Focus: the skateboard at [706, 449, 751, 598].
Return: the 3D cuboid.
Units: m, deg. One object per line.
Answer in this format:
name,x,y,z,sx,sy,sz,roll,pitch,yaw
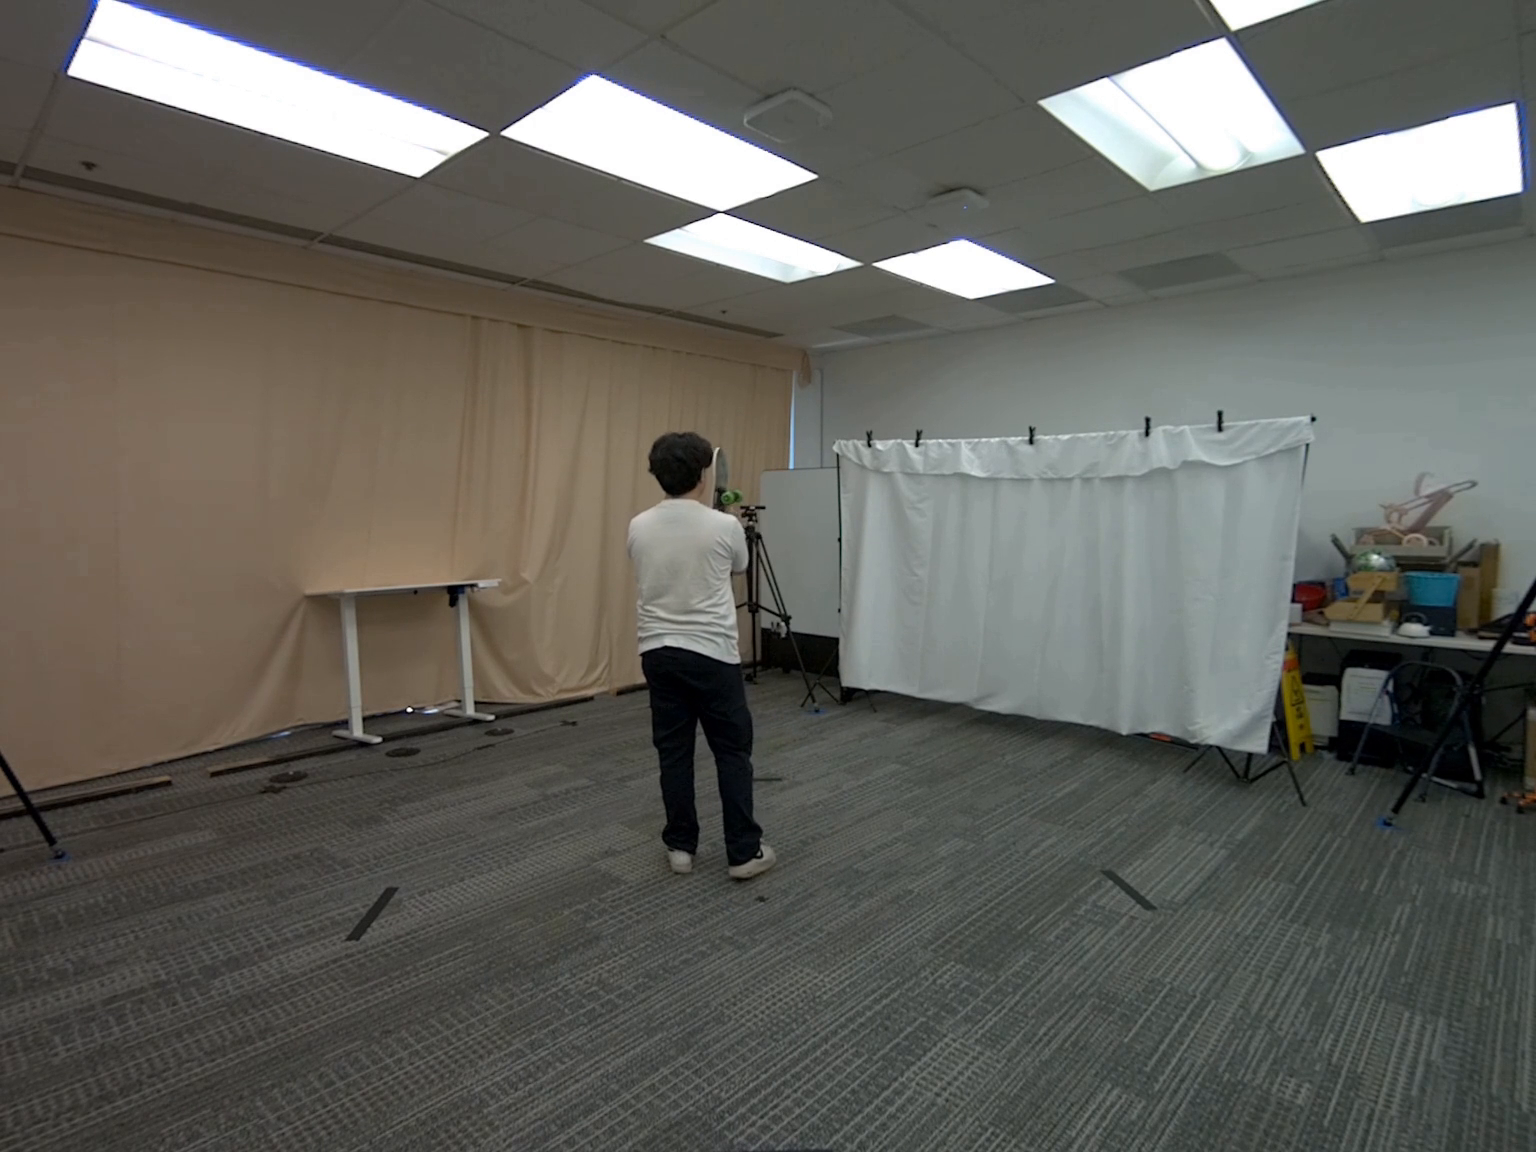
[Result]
skateboard,-0.193,-0.129,3.511,0.112,0.782,0.191,9,9,12
